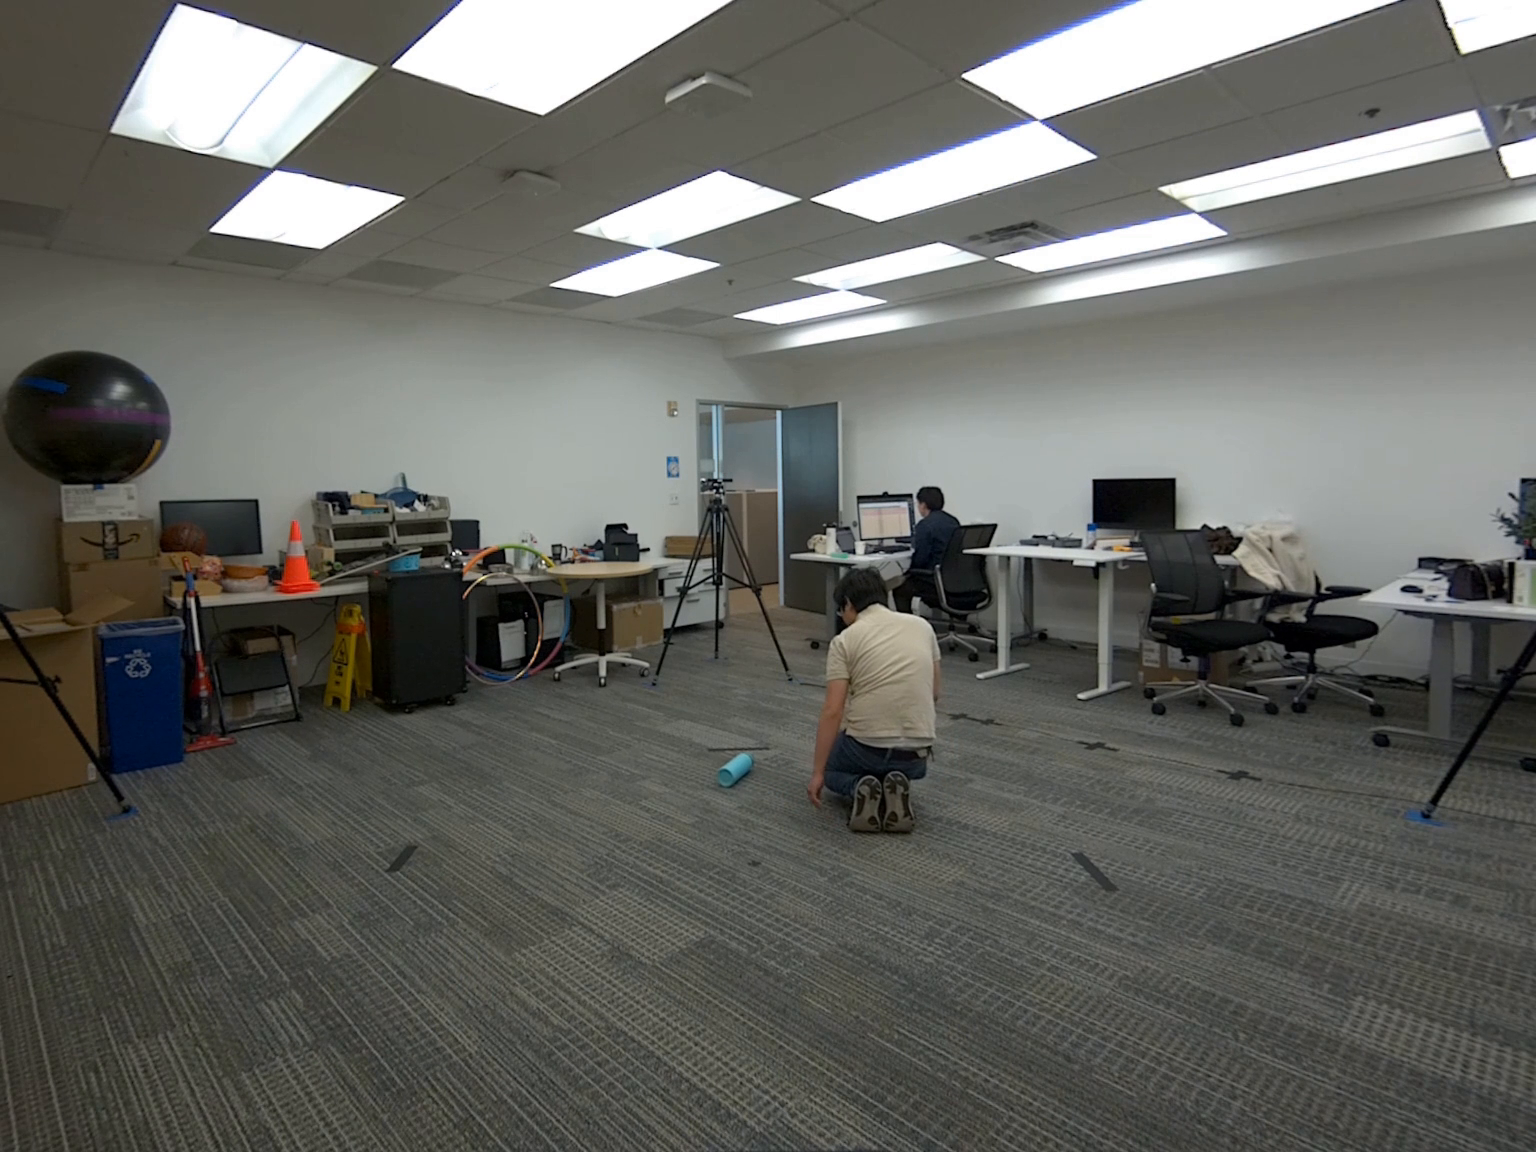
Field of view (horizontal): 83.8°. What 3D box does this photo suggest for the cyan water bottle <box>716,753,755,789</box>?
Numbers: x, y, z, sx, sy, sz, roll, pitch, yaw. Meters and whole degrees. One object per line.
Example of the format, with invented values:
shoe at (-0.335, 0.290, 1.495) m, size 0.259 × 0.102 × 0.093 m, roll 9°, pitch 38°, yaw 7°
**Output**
cyan water bottle at (-0.141, 0.895, 4.004) m, size 0.094 × 0.092 × 0.279 m, roll 1°, pitch 7°, yaw 21°
